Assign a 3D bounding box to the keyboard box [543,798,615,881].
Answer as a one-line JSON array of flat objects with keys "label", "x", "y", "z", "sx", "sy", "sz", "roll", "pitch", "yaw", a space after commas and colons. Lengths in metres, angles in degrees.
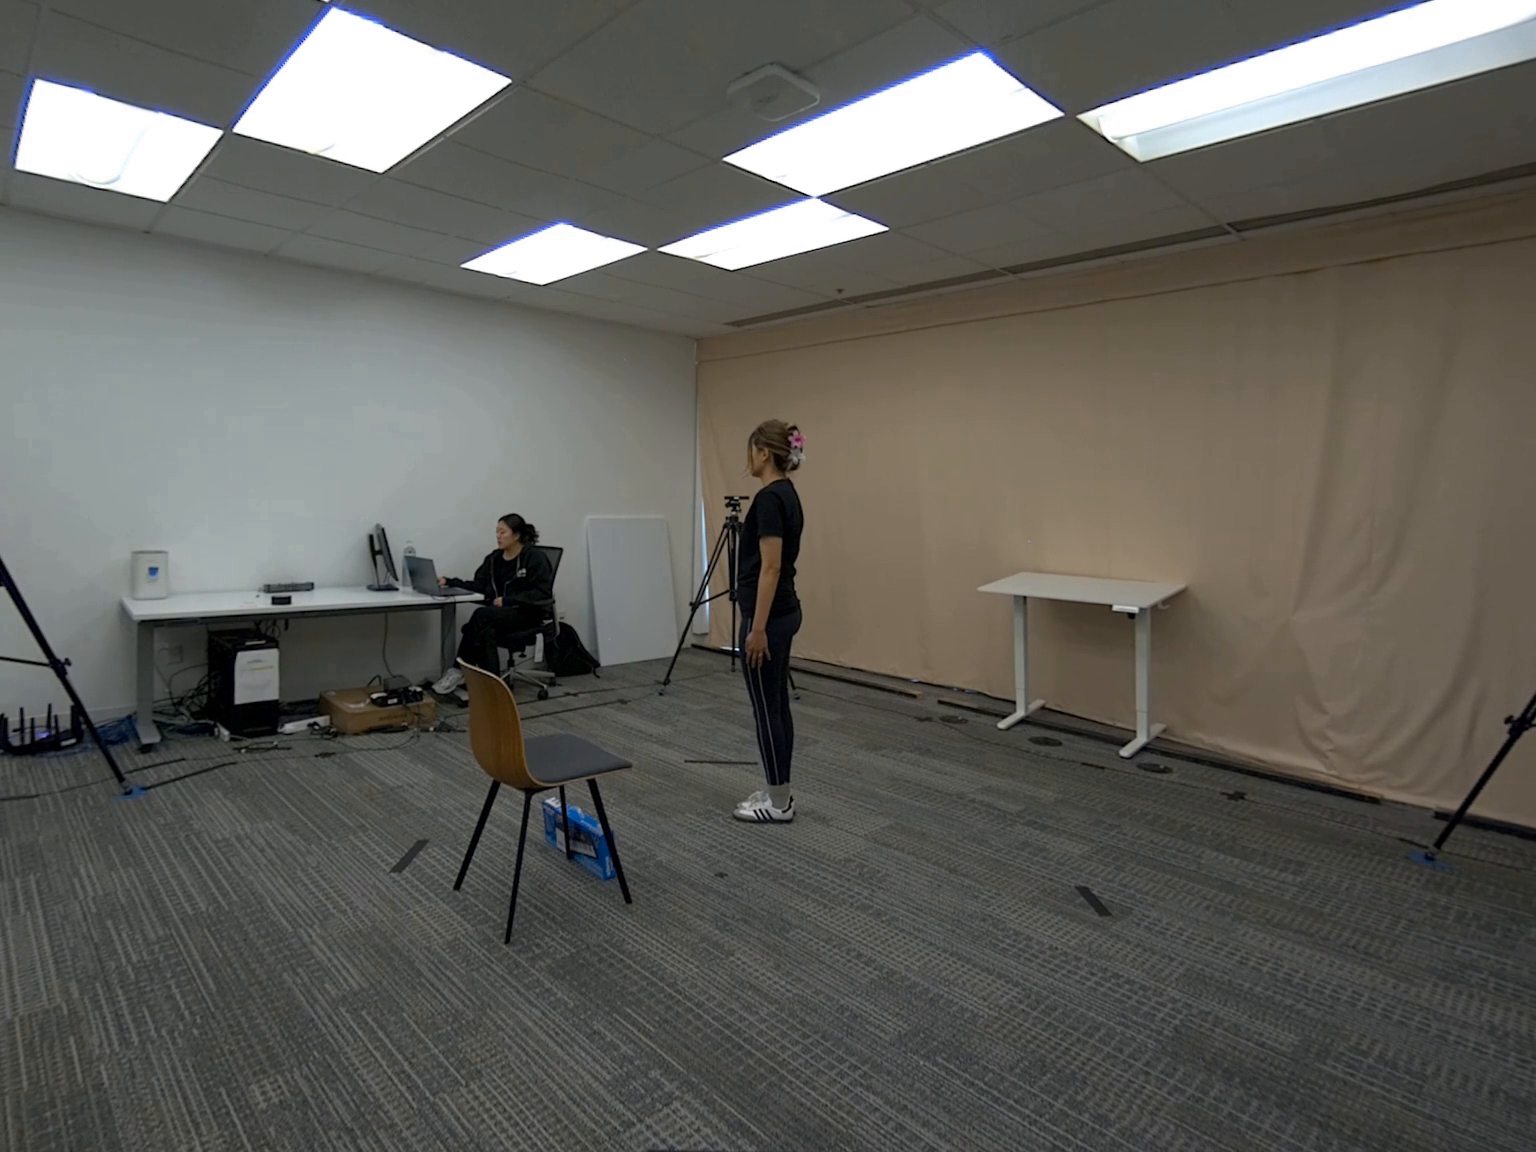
[{"label": "keyboard box", "x": -0.730, "y": 0.995, "z": 3.209, "sx": 0.058, "sy": 0.175, "sz": 0.448, "roll": -10, "pitch": 12, "yaw": -41}]
